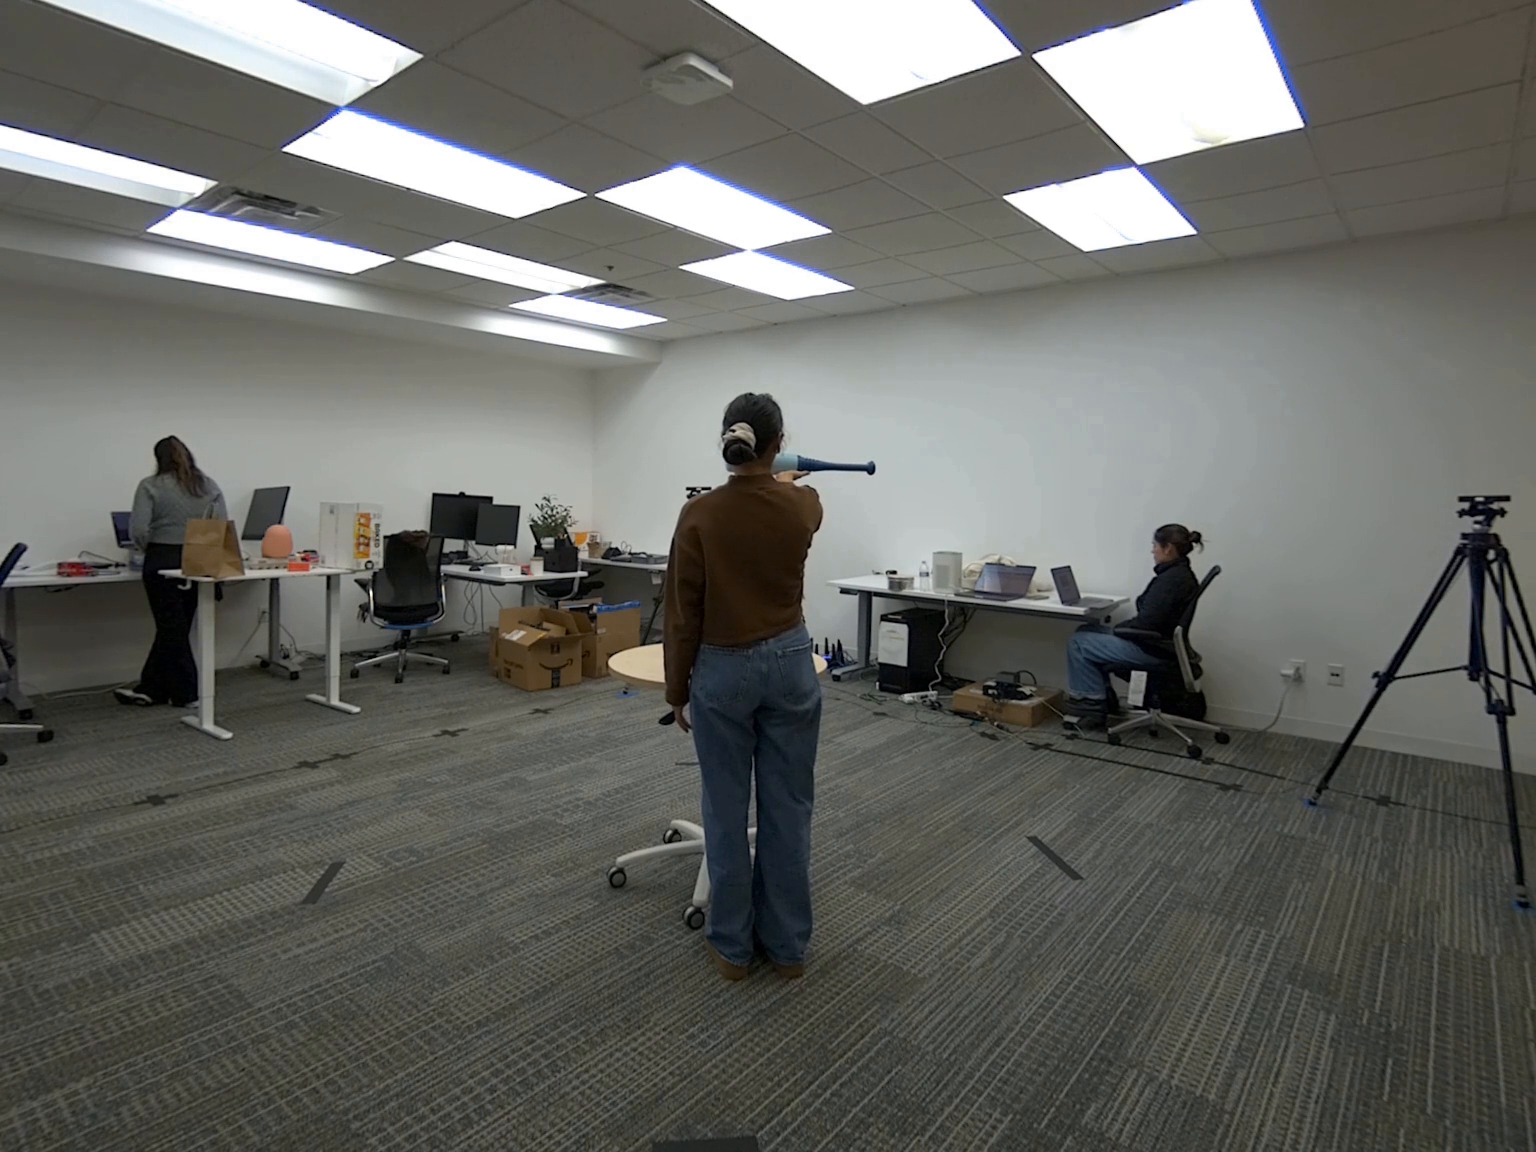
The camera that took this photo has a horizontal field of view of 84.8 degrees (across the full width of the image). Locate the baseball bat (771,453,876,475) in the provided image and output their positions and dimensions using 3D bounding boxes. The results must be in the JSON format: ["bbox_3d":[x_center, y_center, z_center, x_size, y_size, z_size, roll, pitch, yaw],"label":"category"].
[{"bbox_3d":[0.108,-0.399,3.028,0.538,0.089,0.090,2,4,-7],"label":"baseball bat"}]
